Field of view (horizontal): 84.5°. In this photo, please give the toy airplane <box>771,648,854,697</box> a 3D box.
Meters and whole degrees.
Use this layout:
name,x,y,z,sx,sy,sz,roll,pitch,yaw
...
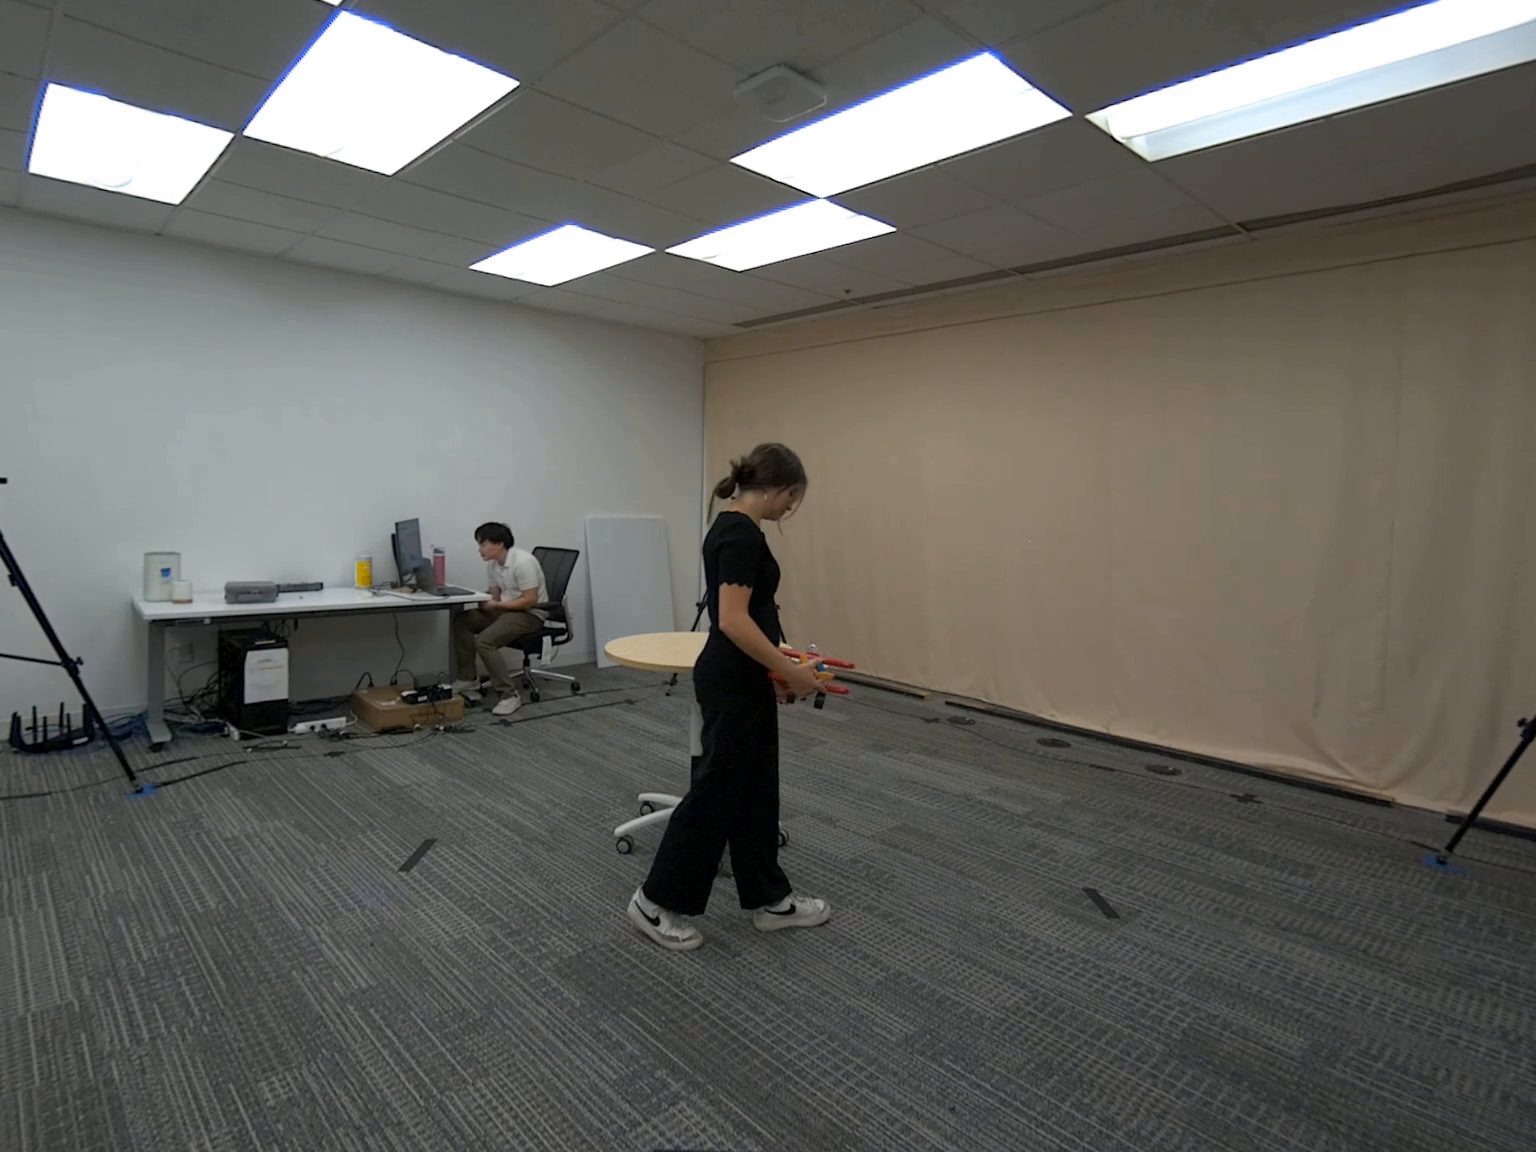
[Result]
name,x,y,z,sx,sy,sz,roll,pitch,yaw
toy airplane,0.101,0.292,2.608,0.247,0.155,0.266,2,18,-22
